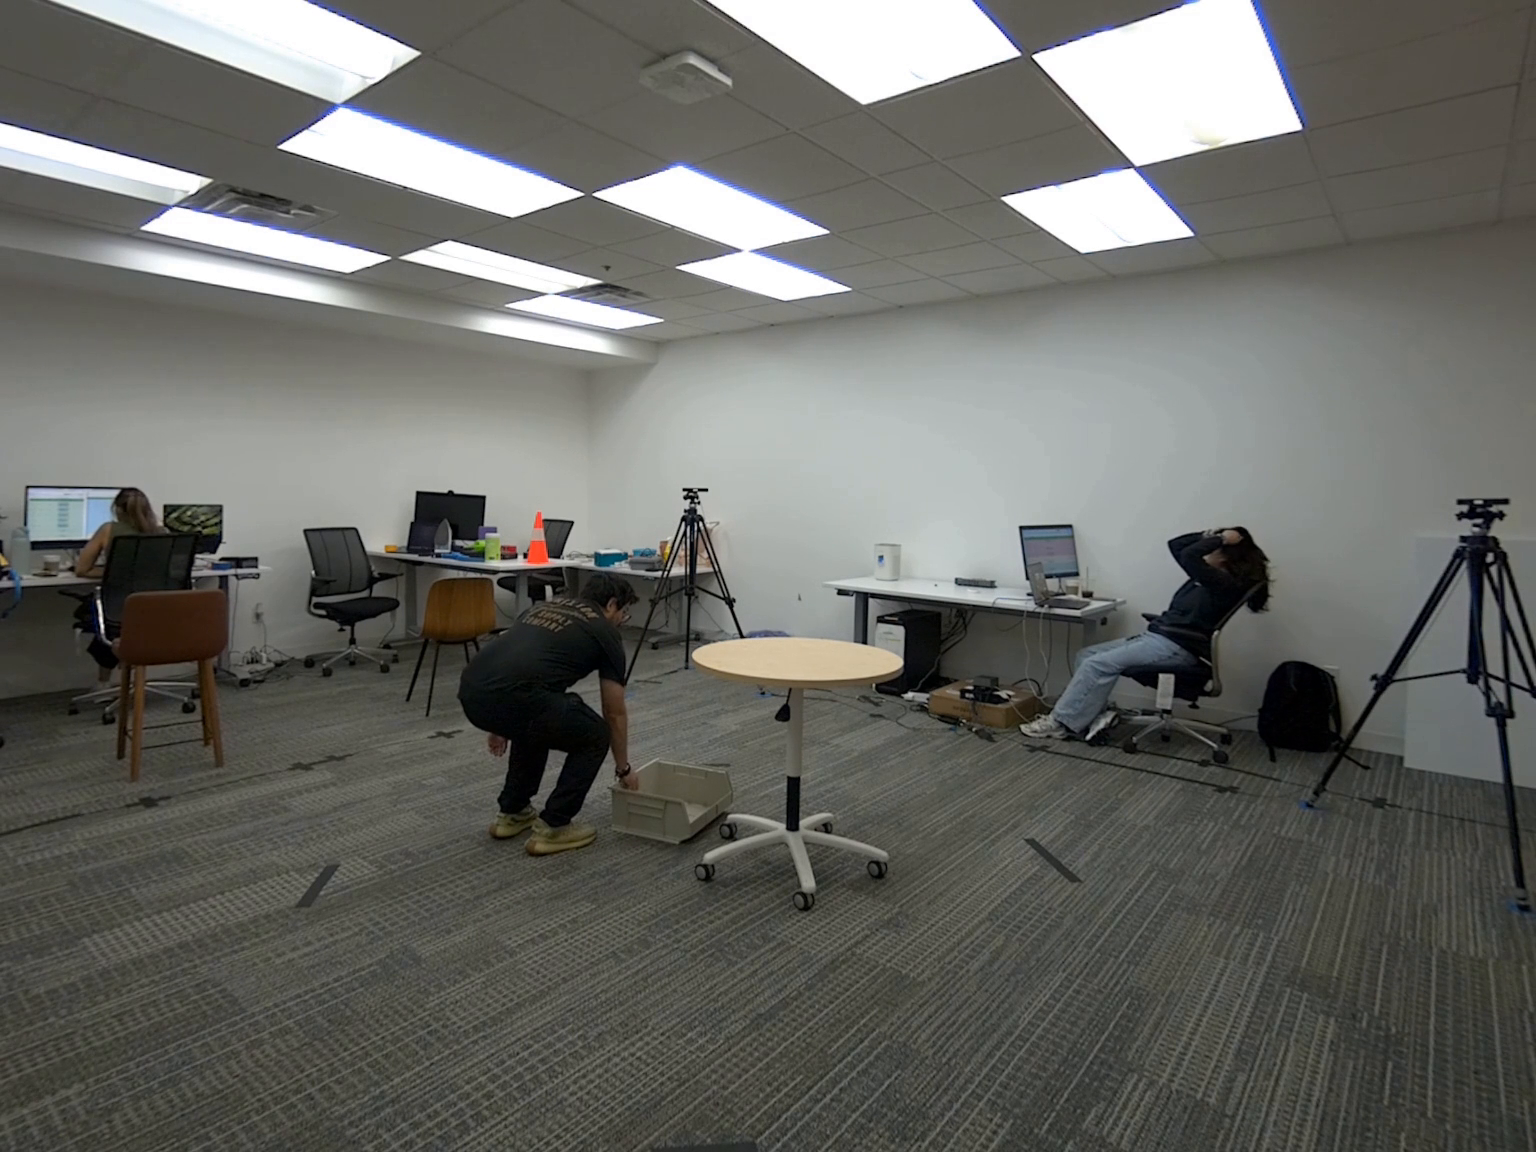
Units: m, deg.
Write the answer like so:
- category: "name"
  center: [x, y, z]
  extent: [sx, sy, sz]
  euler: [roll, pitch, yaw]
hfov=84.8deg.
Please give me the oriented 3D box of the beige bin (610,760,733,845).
- category: "beige bin"
  center: [-0.413, 0.938, 3.564]
  extent: [0.387, 0.188, 0.414]
  euler: [2, 6, 23]
